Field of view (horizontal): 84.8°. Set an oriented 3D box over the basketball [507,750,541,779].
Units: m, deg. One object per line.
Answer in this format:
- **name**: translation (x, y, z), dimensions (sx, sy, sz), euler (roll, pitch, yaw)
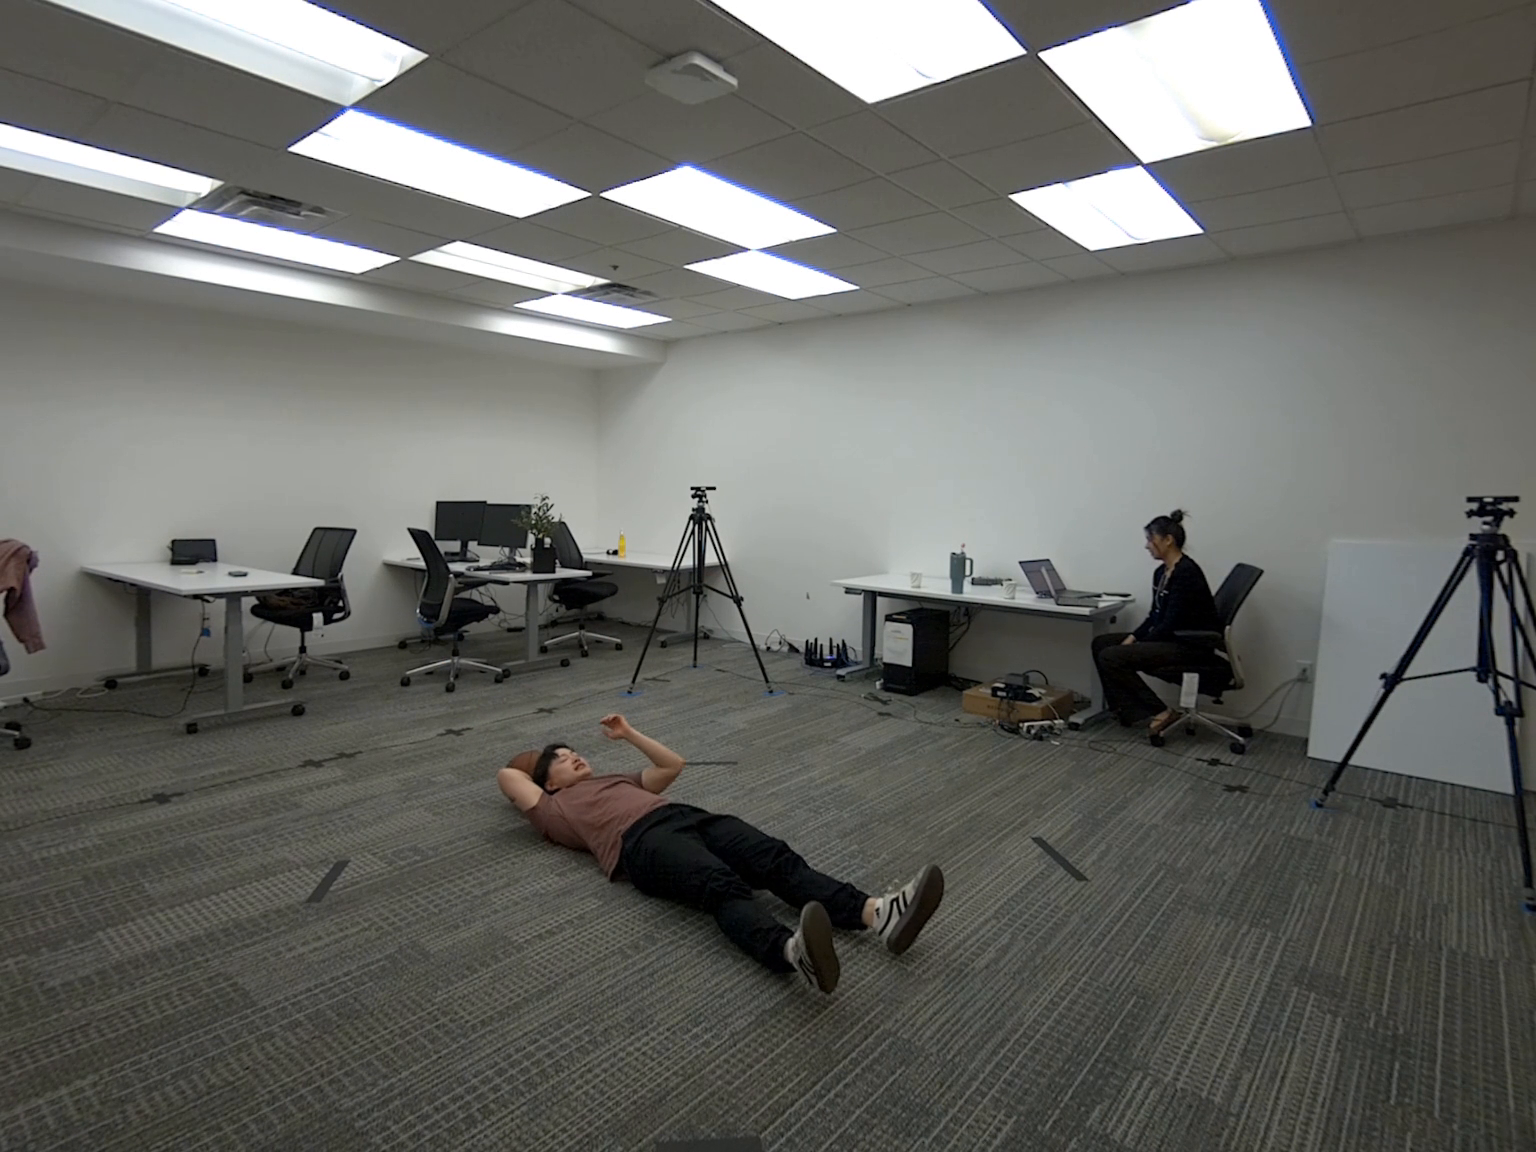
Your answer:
- **basketball**: translation (-1.037, 0.872, 3.687), dimensions (0.235, 0.235, 0.237), euler (1, 5, -2)
